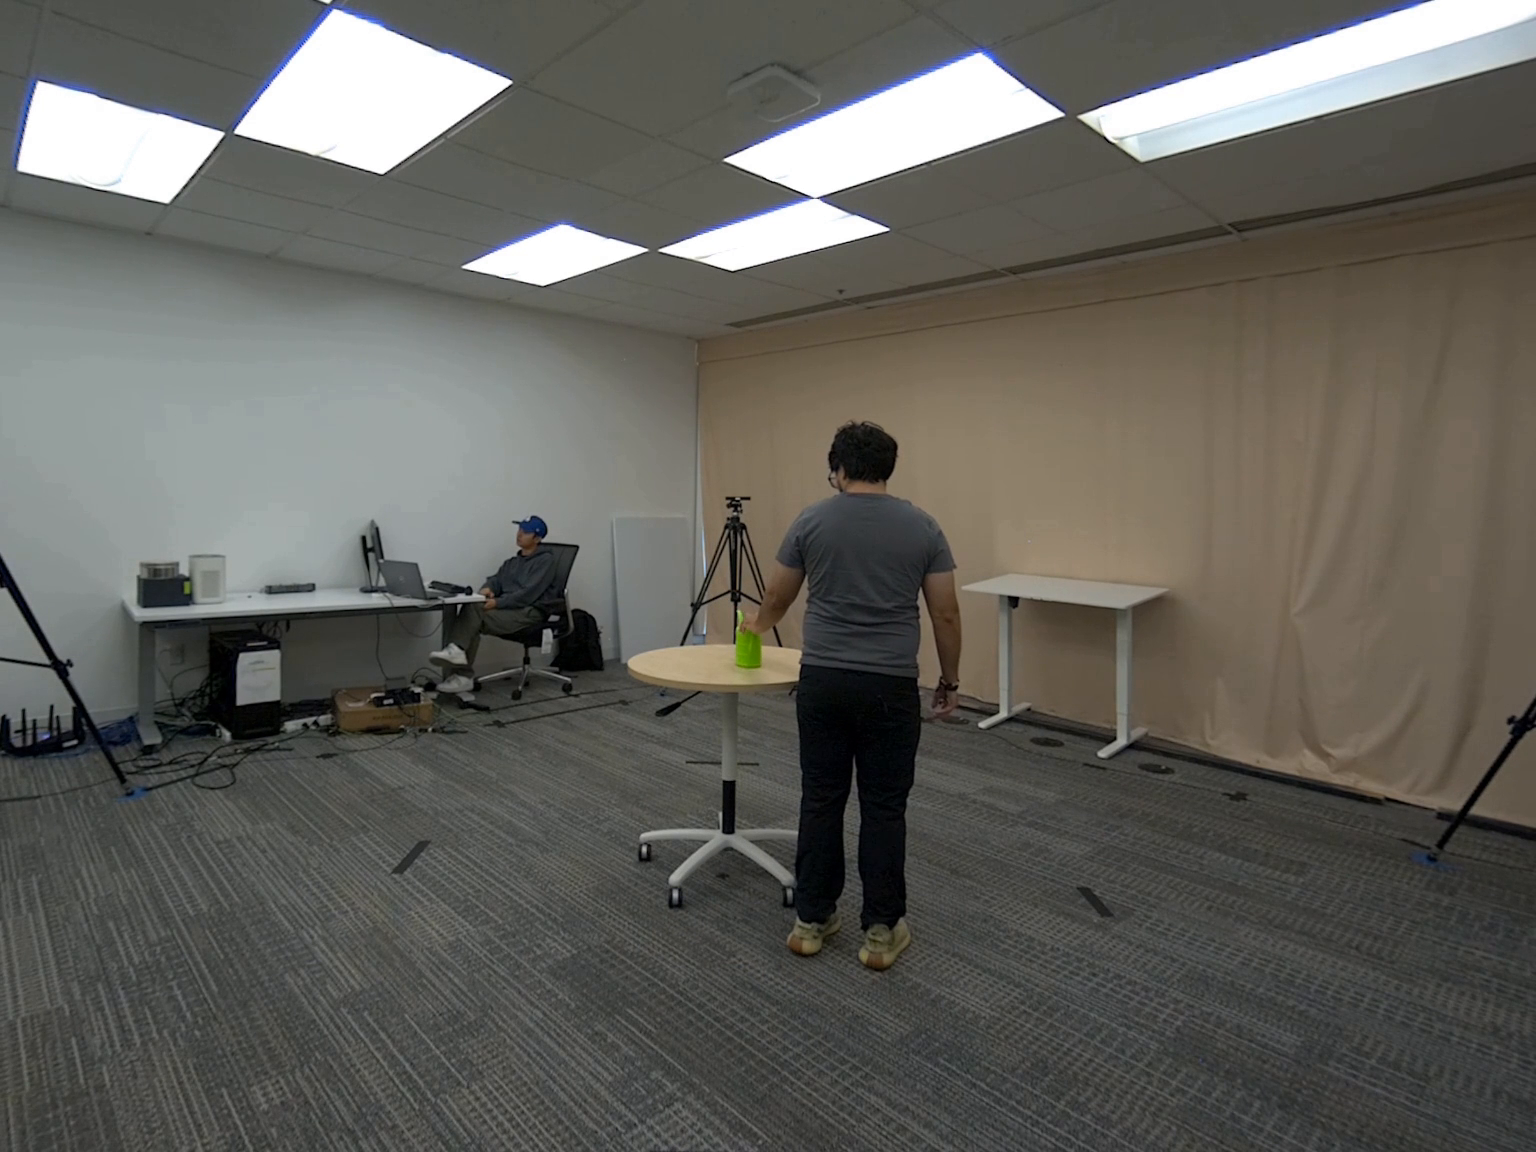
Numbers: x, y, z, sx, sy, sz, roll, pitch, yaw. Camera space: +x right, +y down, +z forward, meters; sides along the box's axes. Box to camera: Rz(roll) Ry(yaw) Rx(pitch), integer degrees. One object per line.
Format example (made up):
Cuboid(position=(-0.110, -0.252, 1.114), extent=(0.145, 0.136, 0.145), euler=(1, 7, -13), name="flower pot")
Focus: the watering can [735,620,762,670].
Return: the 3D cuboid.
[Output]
Cuboid(position=(-0.087, 0.238, 3.116), extent=(0.098, 0.176, 0.280), euler=(2, 5, -4), name="watering can")
